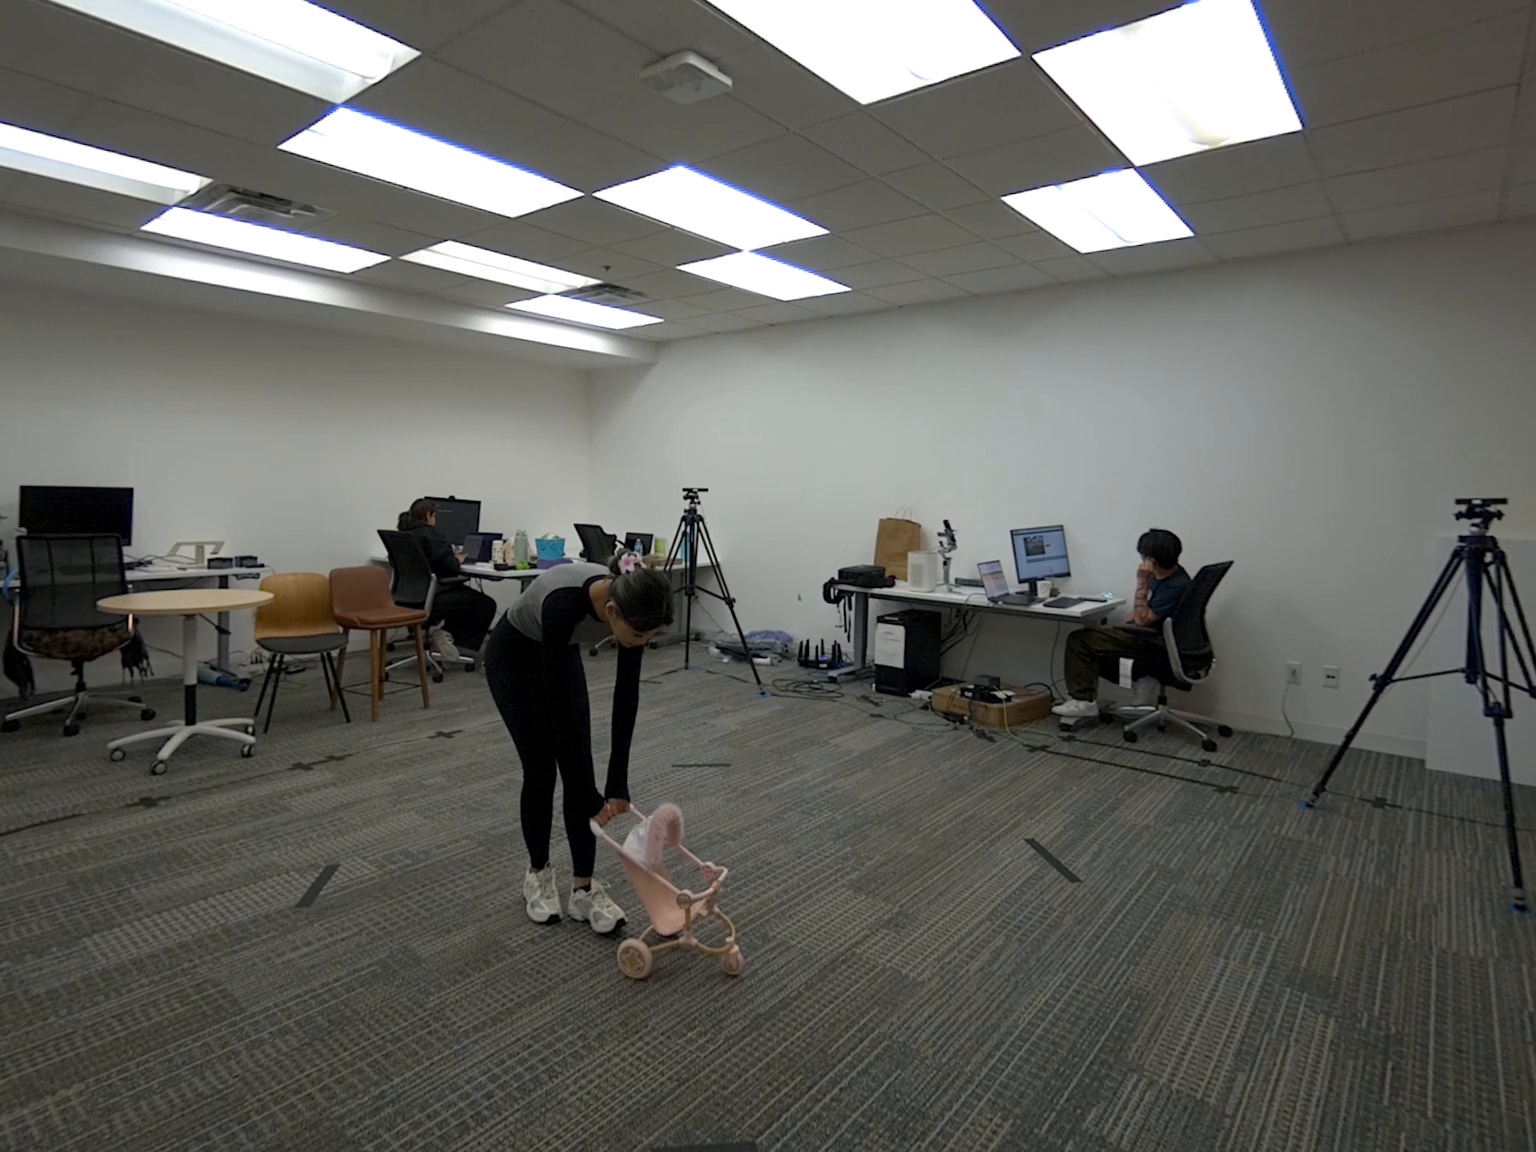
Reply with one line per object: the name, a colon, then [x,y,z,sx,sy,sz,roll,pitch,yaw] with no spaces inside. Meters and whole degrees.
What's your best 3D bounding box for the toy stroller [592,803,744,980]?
toy stroller: [-0.291,0.906,2.488,0.347,0.537,0.276,-17,-3,24]
